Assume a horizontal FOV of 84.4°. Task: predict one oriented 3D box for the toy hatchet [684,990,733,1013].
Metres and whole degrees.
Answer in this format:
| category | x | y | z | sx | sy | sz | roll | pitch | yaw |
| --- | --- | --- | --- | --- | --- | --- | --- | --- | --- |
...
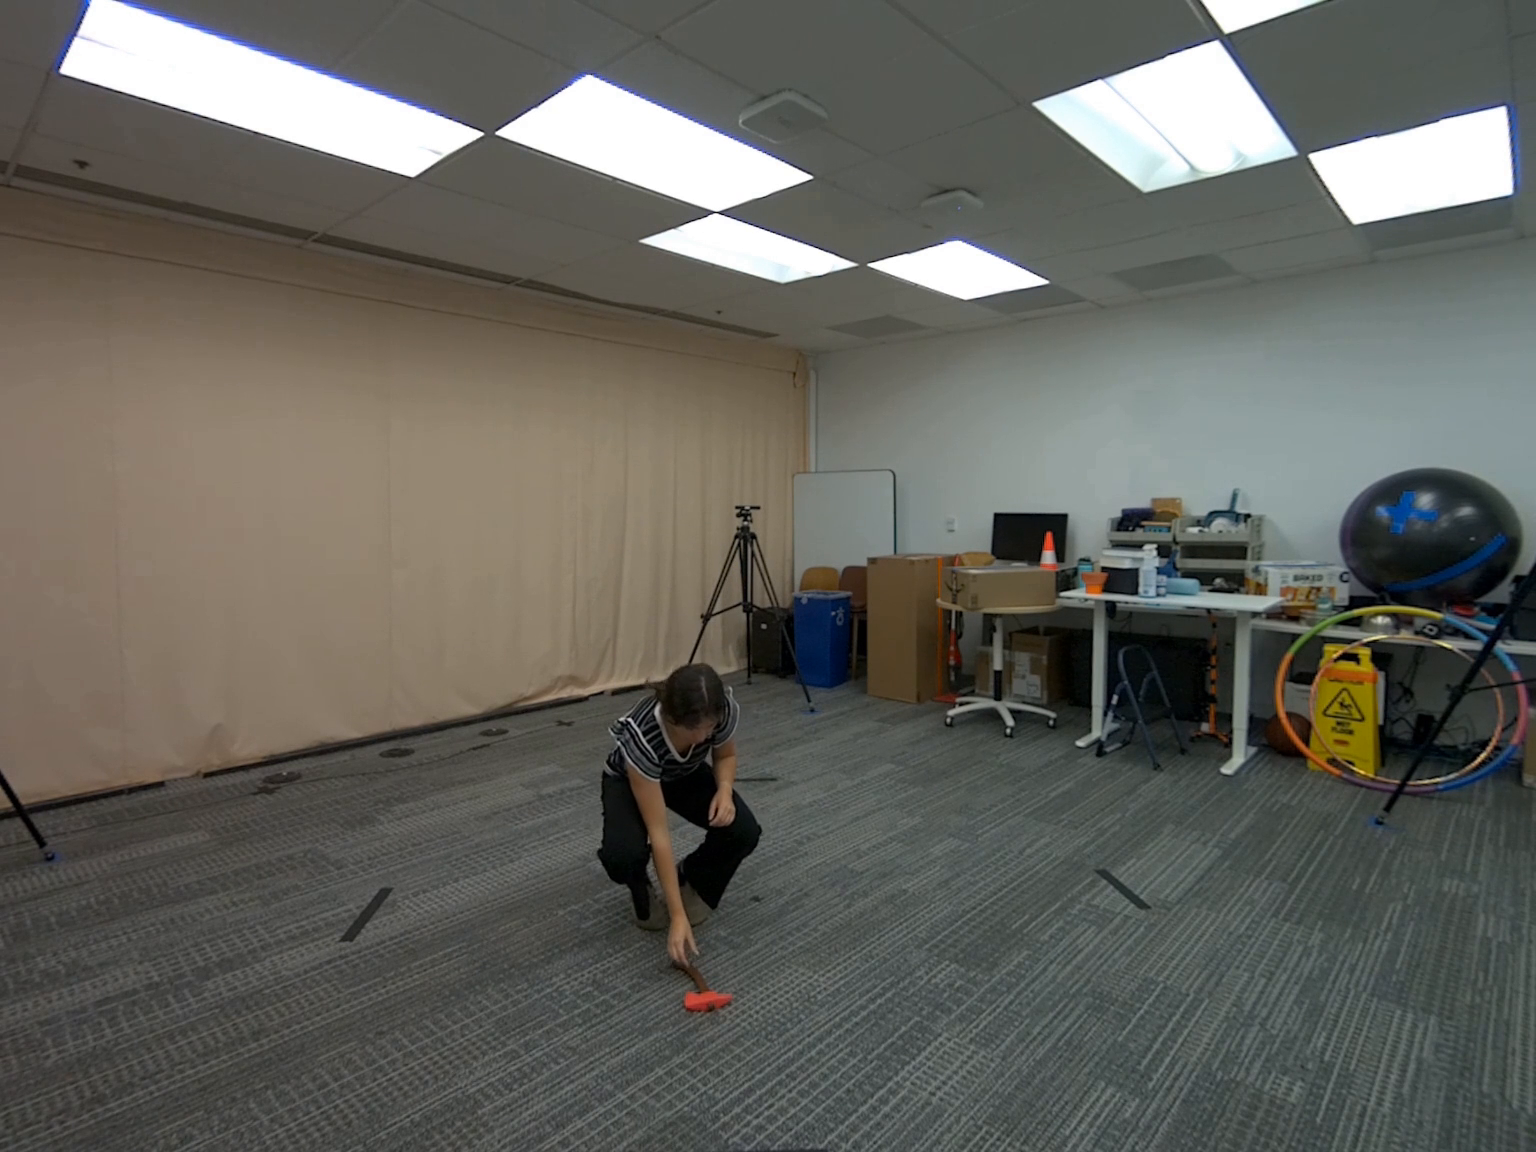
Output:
| category | x | y | z | sx | sy | sz | roll | pitch | yaw |
| --- | --- | --- | --- | --- | --- | --- | --- | --- | --- |
| toy hatchet | -0.225 | 1.169 | 2.429 | 0.127 | 0.029 | 0.278 | -6 | 5 | -37 |
